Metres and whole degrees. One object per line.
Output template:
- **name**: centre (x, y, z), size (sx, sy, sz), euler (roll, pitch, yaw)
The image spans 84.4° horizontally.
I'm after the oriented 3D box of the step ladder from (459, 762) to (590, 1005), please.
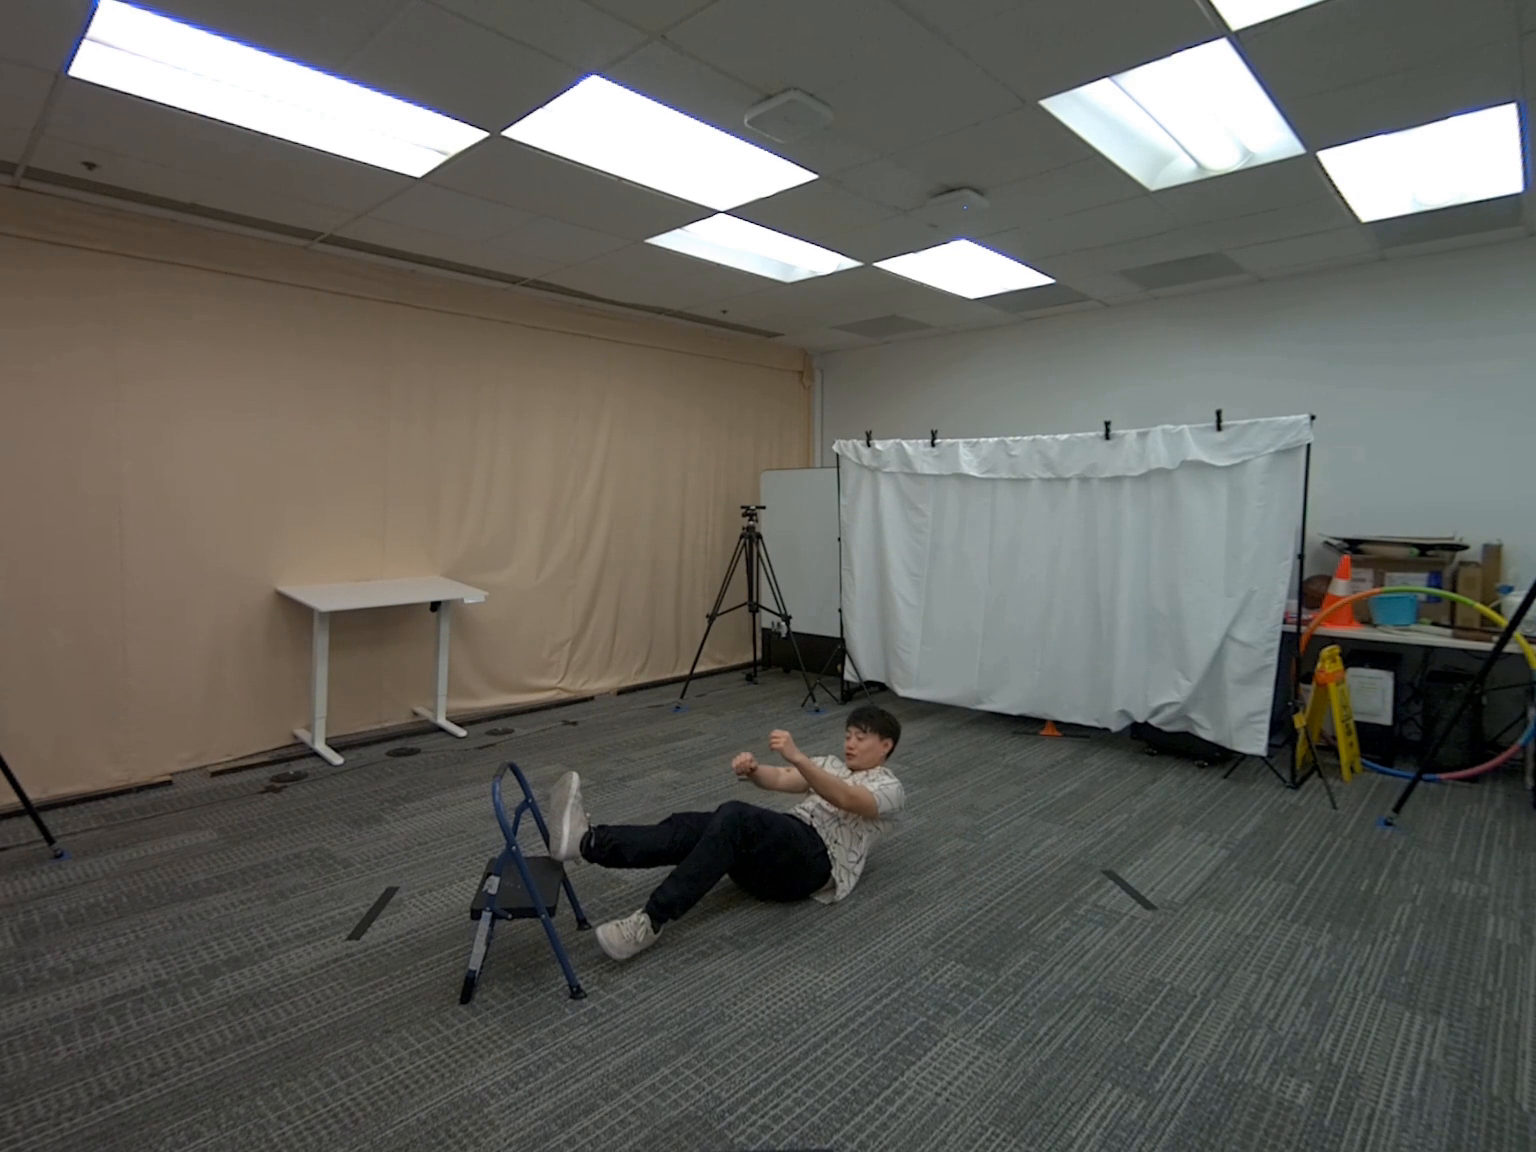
- **step ladder**: centre (-0.729, 0.885, 2.555), size (0.346, 0.605, 0.435), euler (-1, 3, -9)
